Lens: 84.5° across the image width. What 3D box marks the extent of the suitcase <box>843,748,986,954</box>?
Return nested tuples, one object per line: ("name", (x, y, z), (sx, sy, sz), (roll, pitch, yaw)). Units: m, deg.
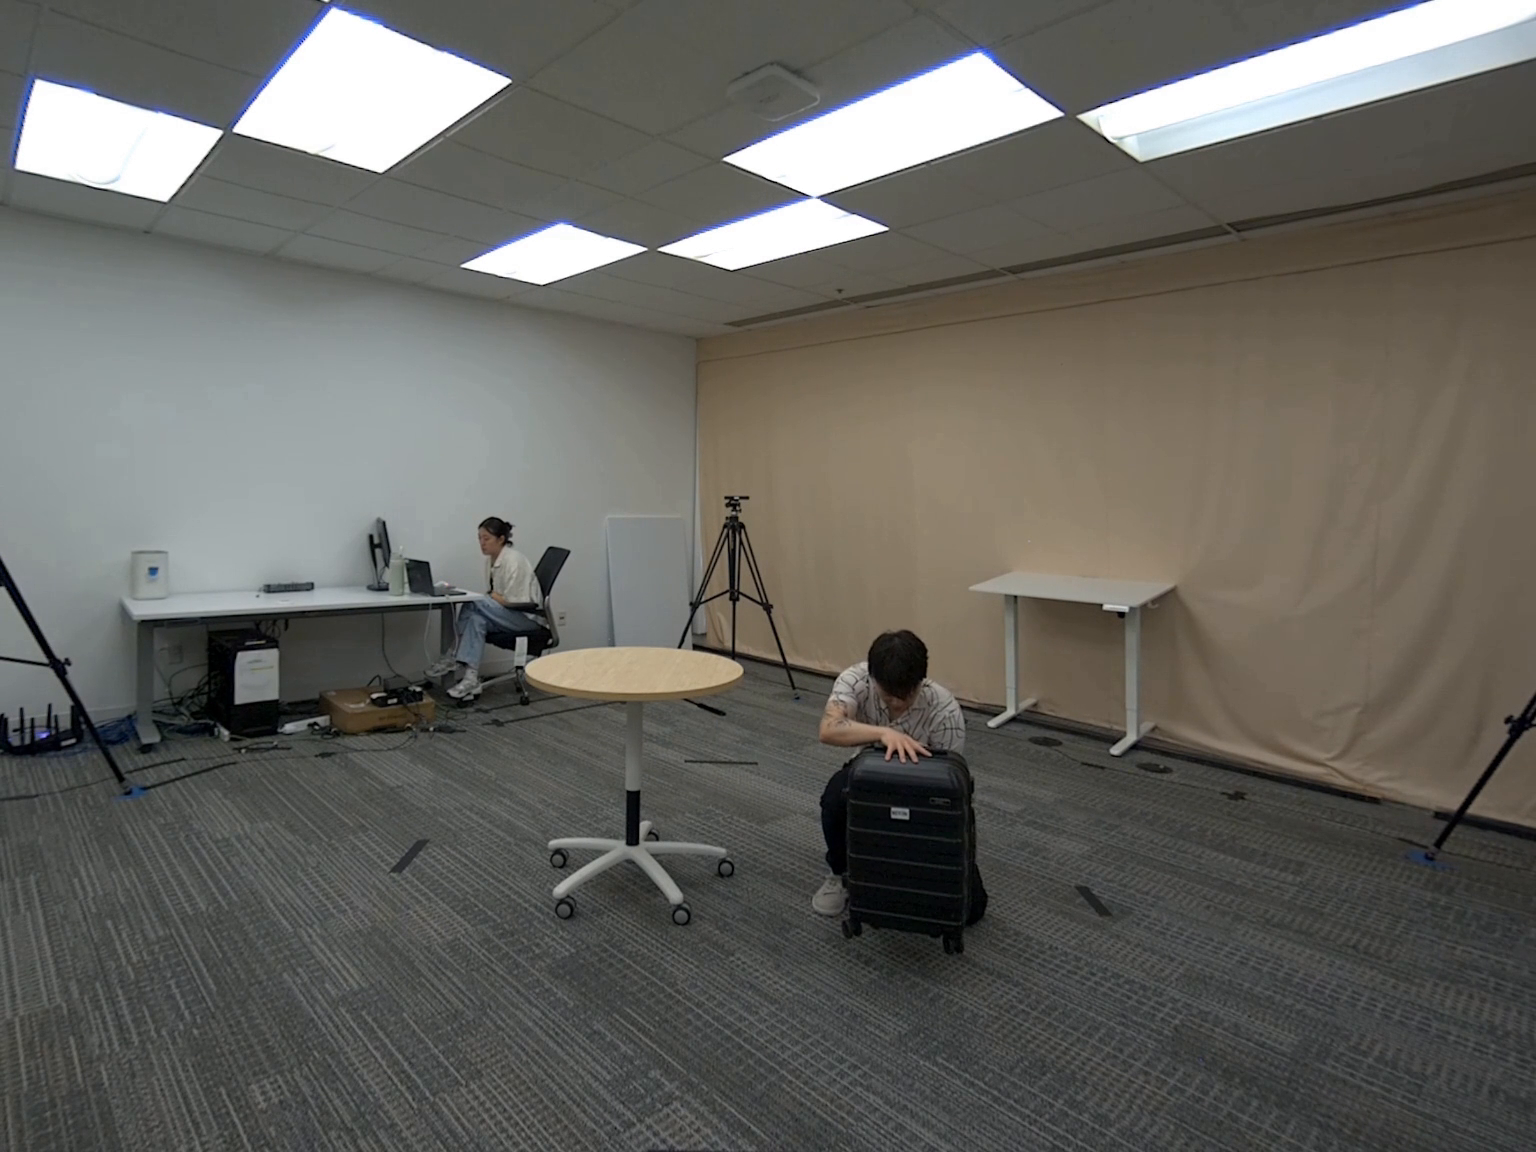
("suitcase", (0.418, 0.804, 2.526), (0.381, 0.547, 0.246), (2, 7, 18))
